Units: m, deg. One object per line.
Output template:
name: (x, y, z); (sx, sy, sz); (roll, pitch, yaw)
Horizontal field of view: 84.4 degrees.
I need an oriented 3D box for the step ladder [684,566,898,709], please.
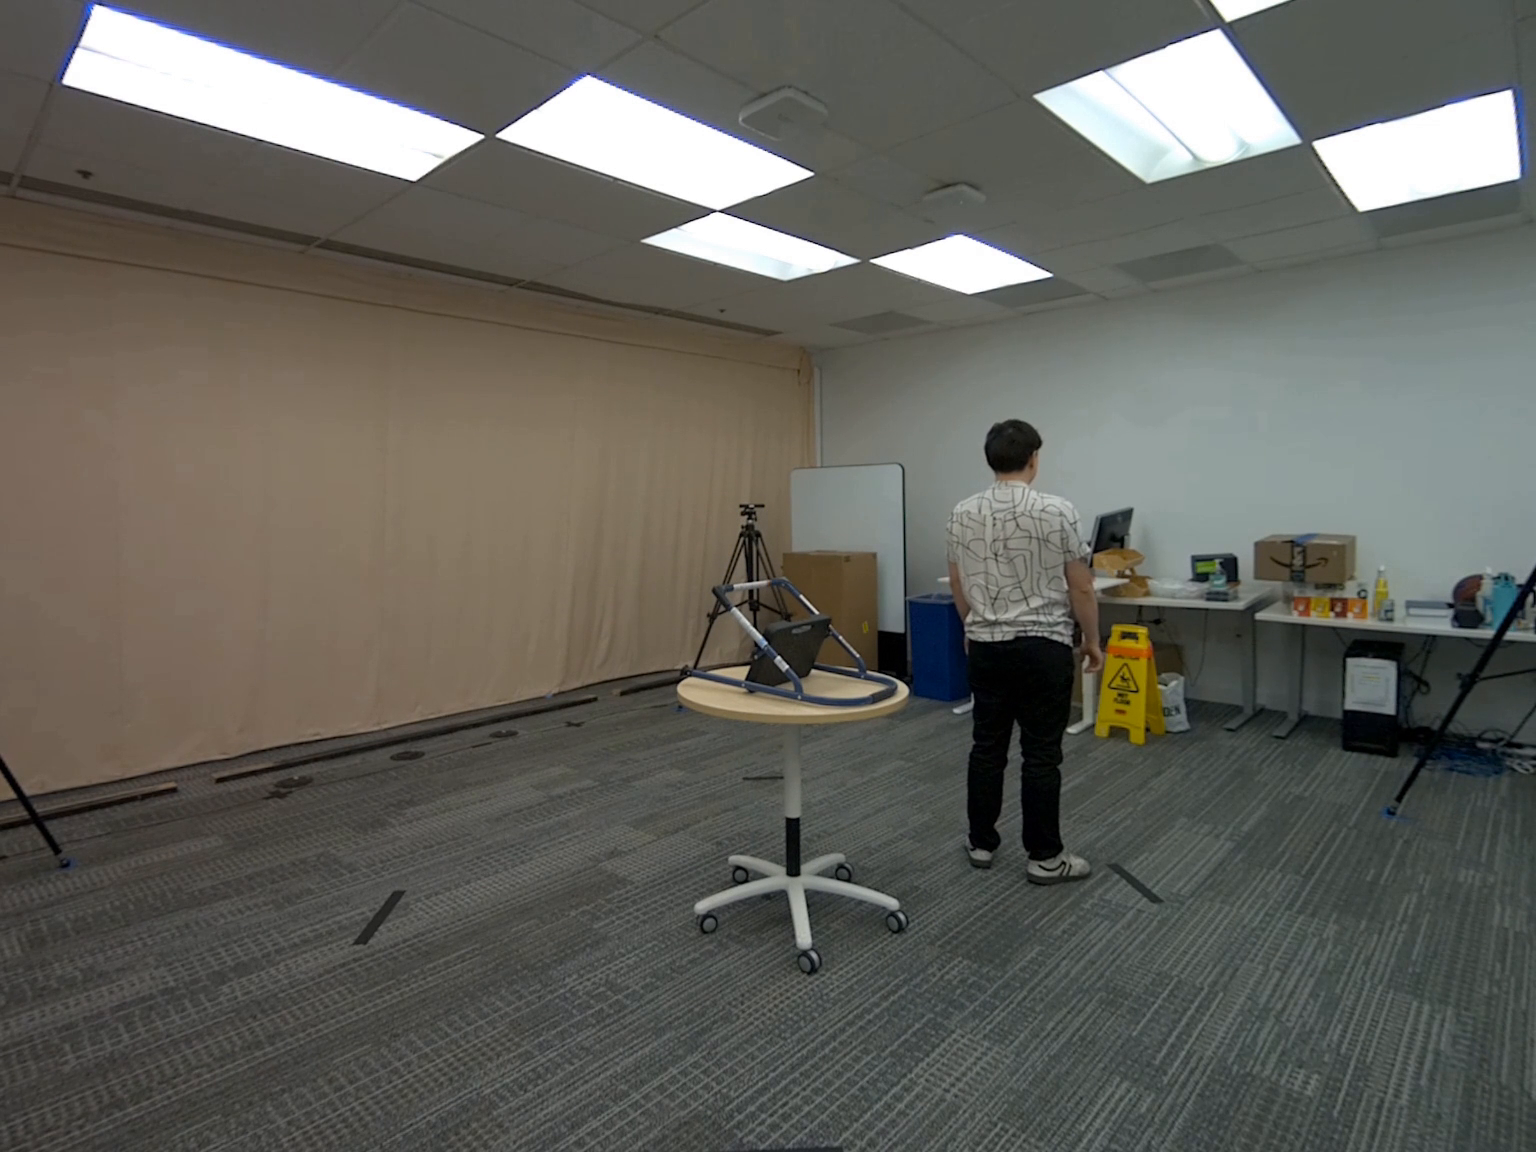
step ladder: (0.109, 0.306, 2.787); (0.627, 0.347, 0.418); (31, 22, 31)
